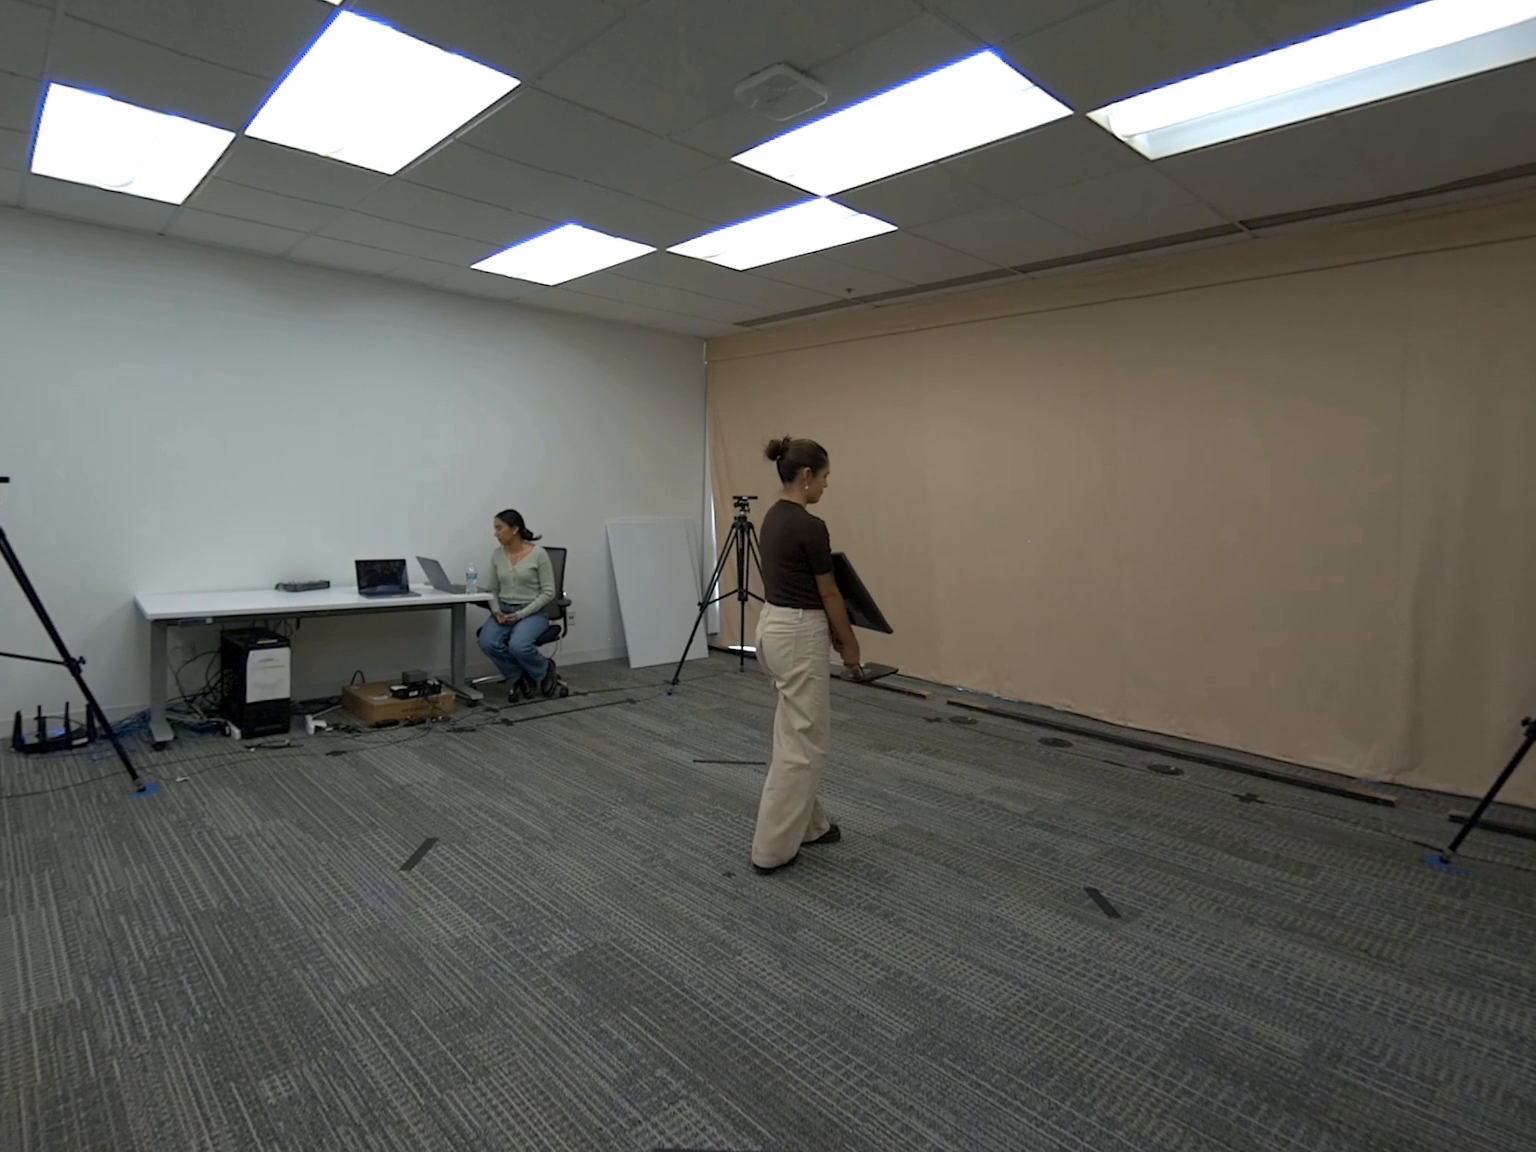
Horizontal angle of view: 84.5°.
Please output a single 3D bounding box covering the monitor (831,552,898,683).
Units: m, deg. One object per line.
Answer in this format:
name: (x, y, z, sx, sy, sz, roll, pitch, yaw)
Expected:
monitor: (0.305, 0.156, 3.355, 0.186, 0.521, 0.543, -19, 3, -12)
